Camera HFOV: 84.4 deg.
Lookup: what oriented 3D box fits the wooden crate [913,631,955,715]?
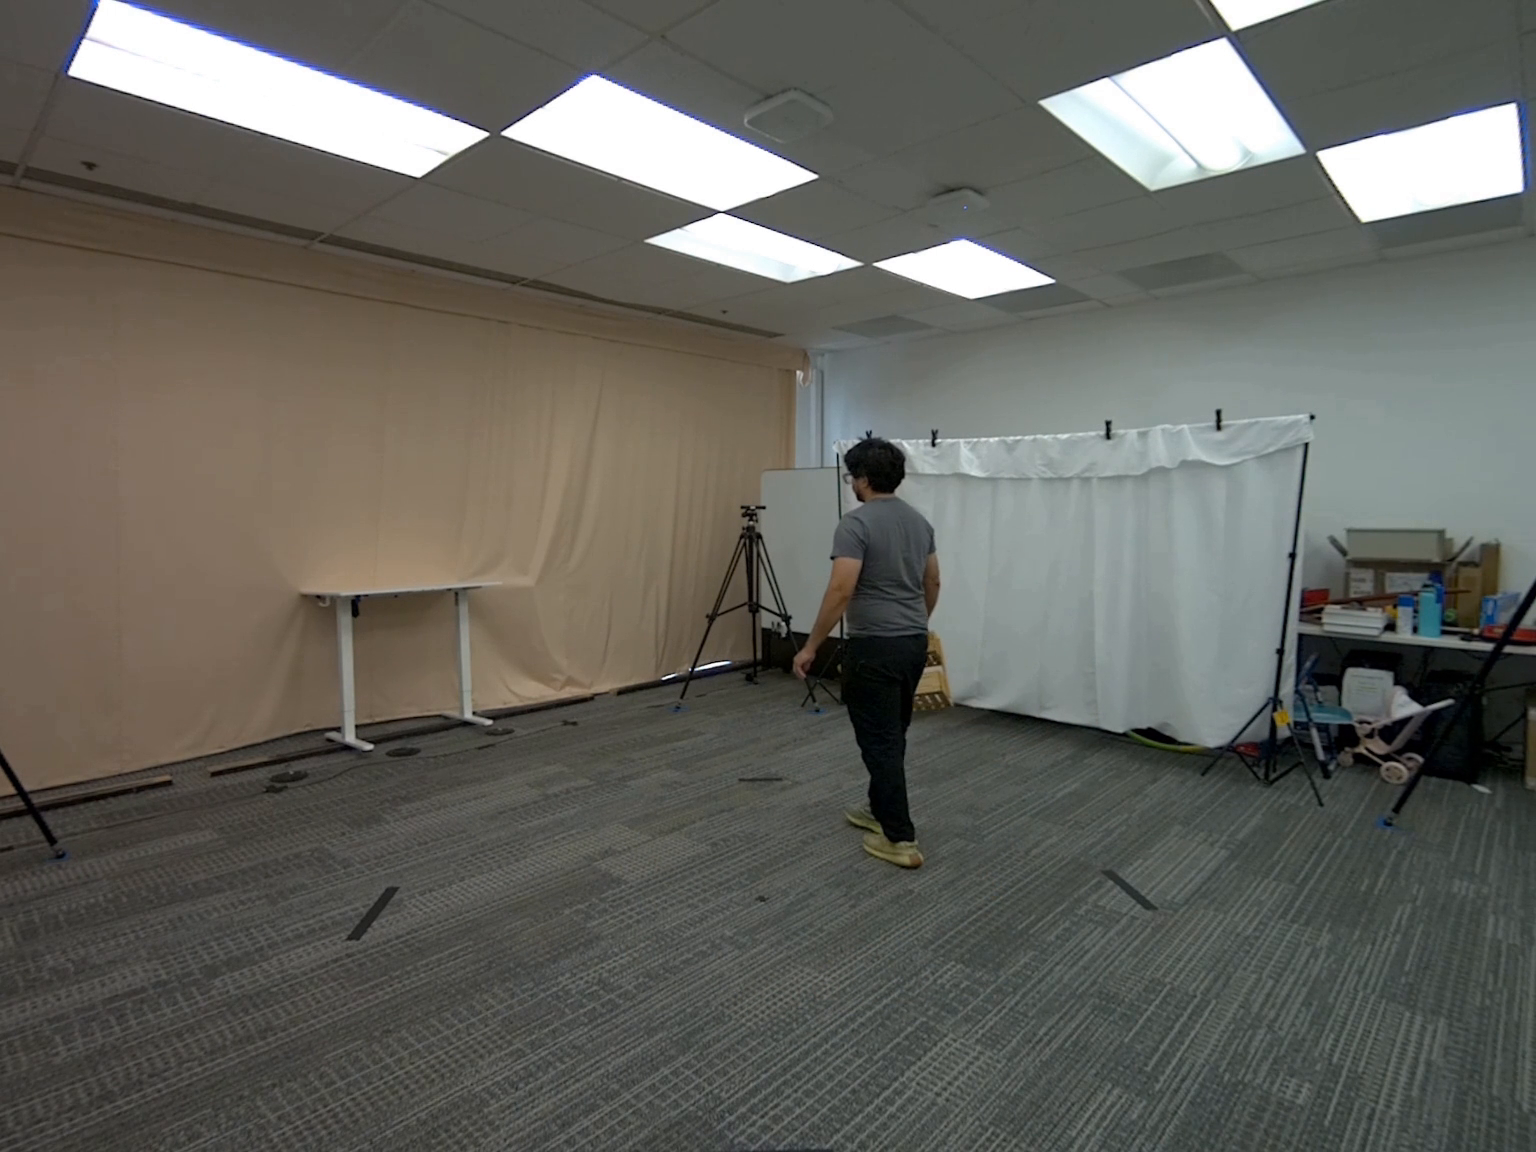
[{"bbox_3d":[0.638,0.443,3.789,0.330,0.278,0.292,-11,-31,18],"label":"wooden crate"}]
